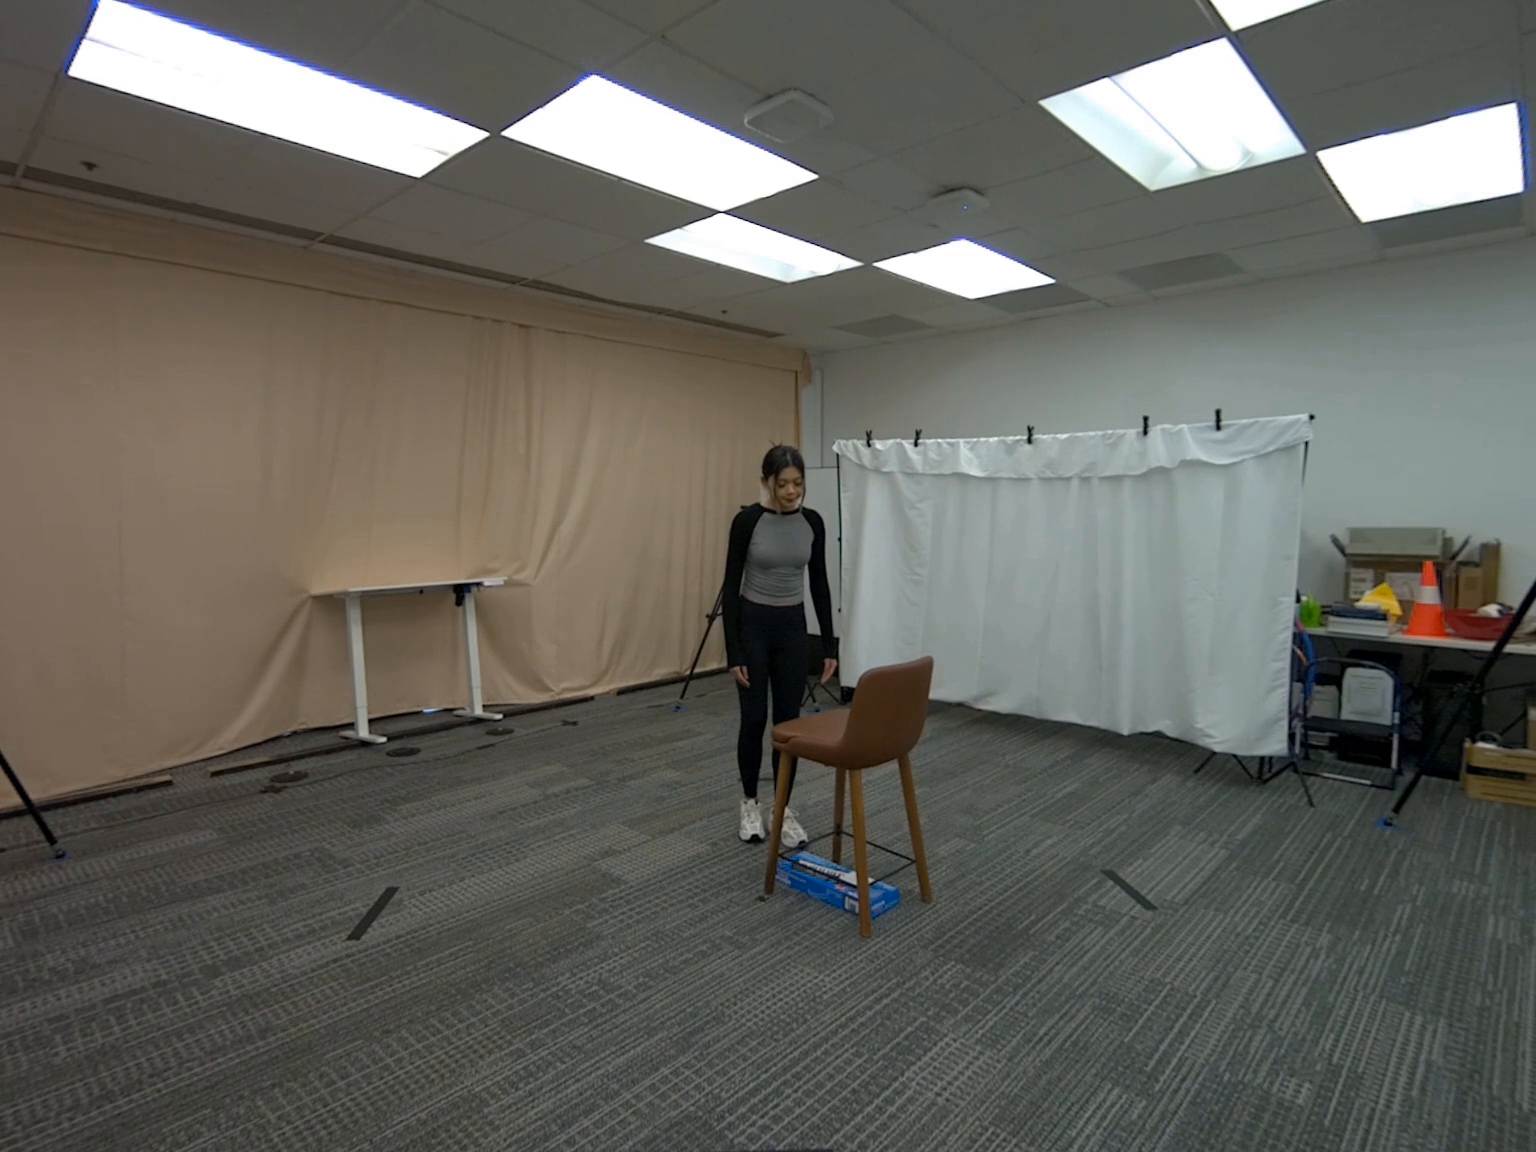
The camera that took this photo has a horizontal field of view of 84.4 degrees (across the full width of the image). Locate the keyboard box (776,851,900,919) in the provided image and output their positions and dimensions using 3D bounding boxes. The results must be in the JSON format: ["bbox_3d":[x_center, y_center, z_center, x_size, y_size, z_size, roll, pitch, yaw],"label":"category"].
[{"bbox_3d":[0.246,1.110,3.034,0.451,0.059,0.170,5,7,45],"label":"keyboard box"}]
